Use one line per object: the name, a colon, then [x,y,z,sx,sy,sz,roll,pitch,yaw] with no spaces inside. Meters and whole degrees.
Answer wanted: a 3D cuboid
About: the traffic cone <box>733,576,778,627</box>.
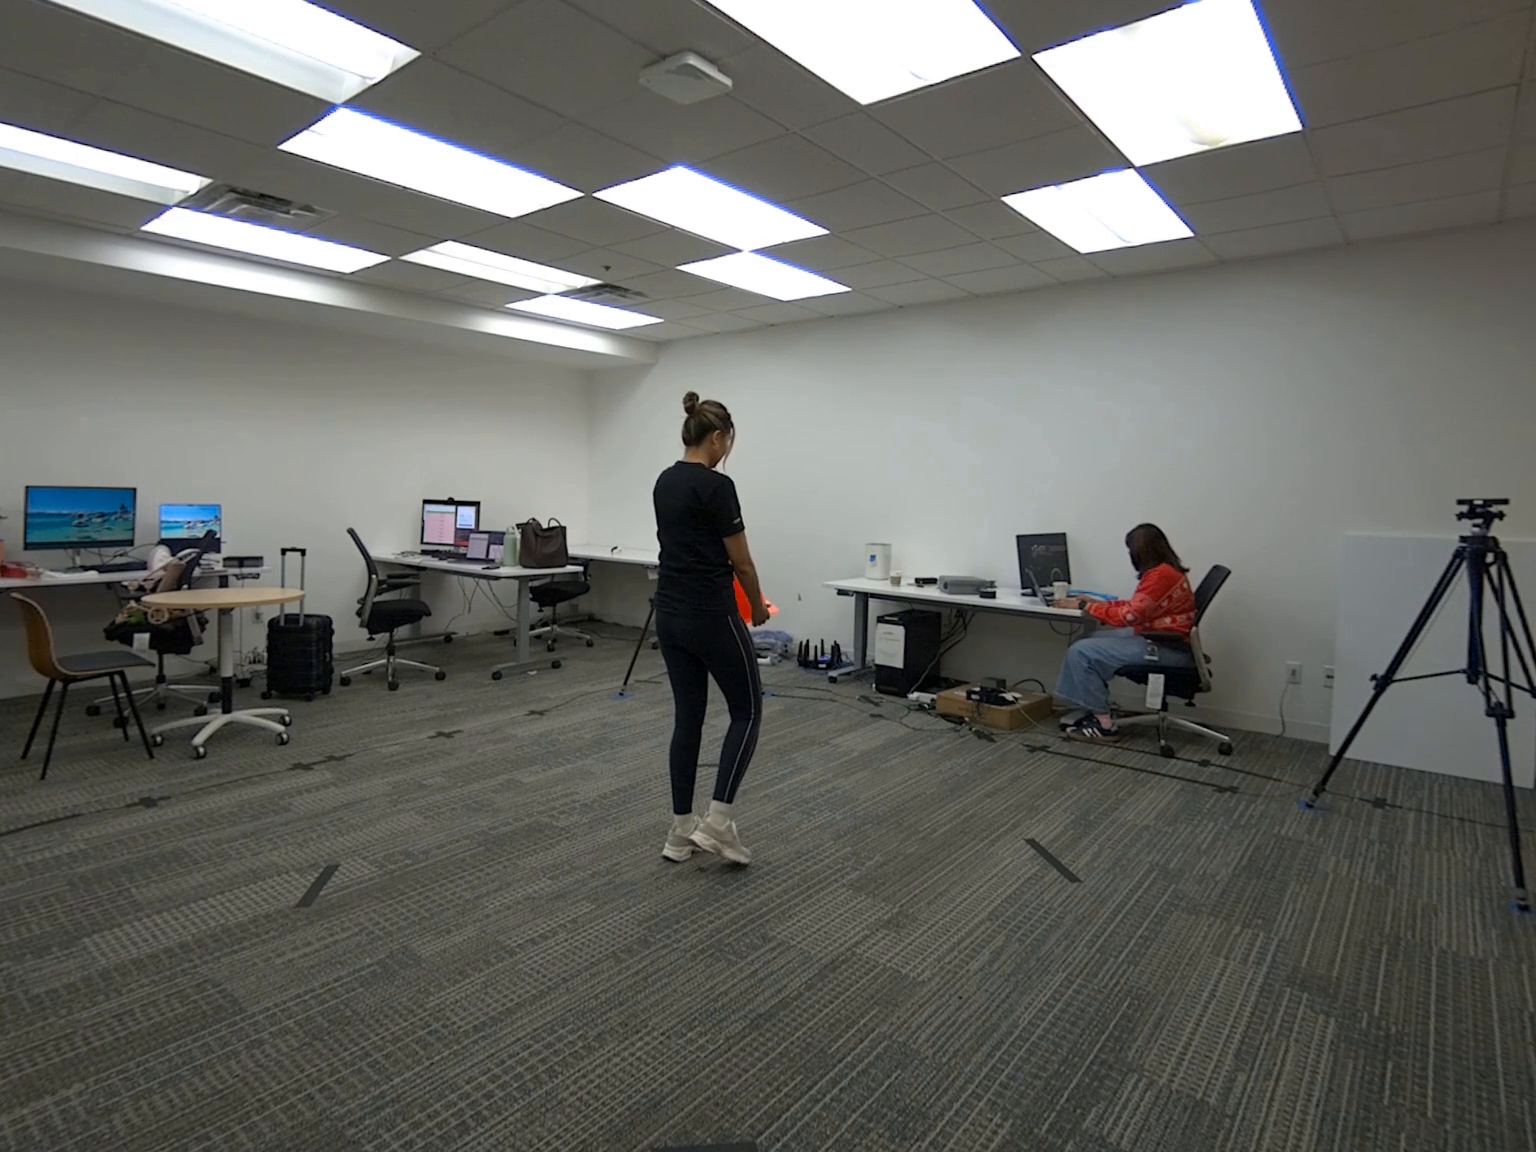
traffic cone: [-0.123,-0.029,3.444,0.201,0.374,0.212,-18,23,-16]
